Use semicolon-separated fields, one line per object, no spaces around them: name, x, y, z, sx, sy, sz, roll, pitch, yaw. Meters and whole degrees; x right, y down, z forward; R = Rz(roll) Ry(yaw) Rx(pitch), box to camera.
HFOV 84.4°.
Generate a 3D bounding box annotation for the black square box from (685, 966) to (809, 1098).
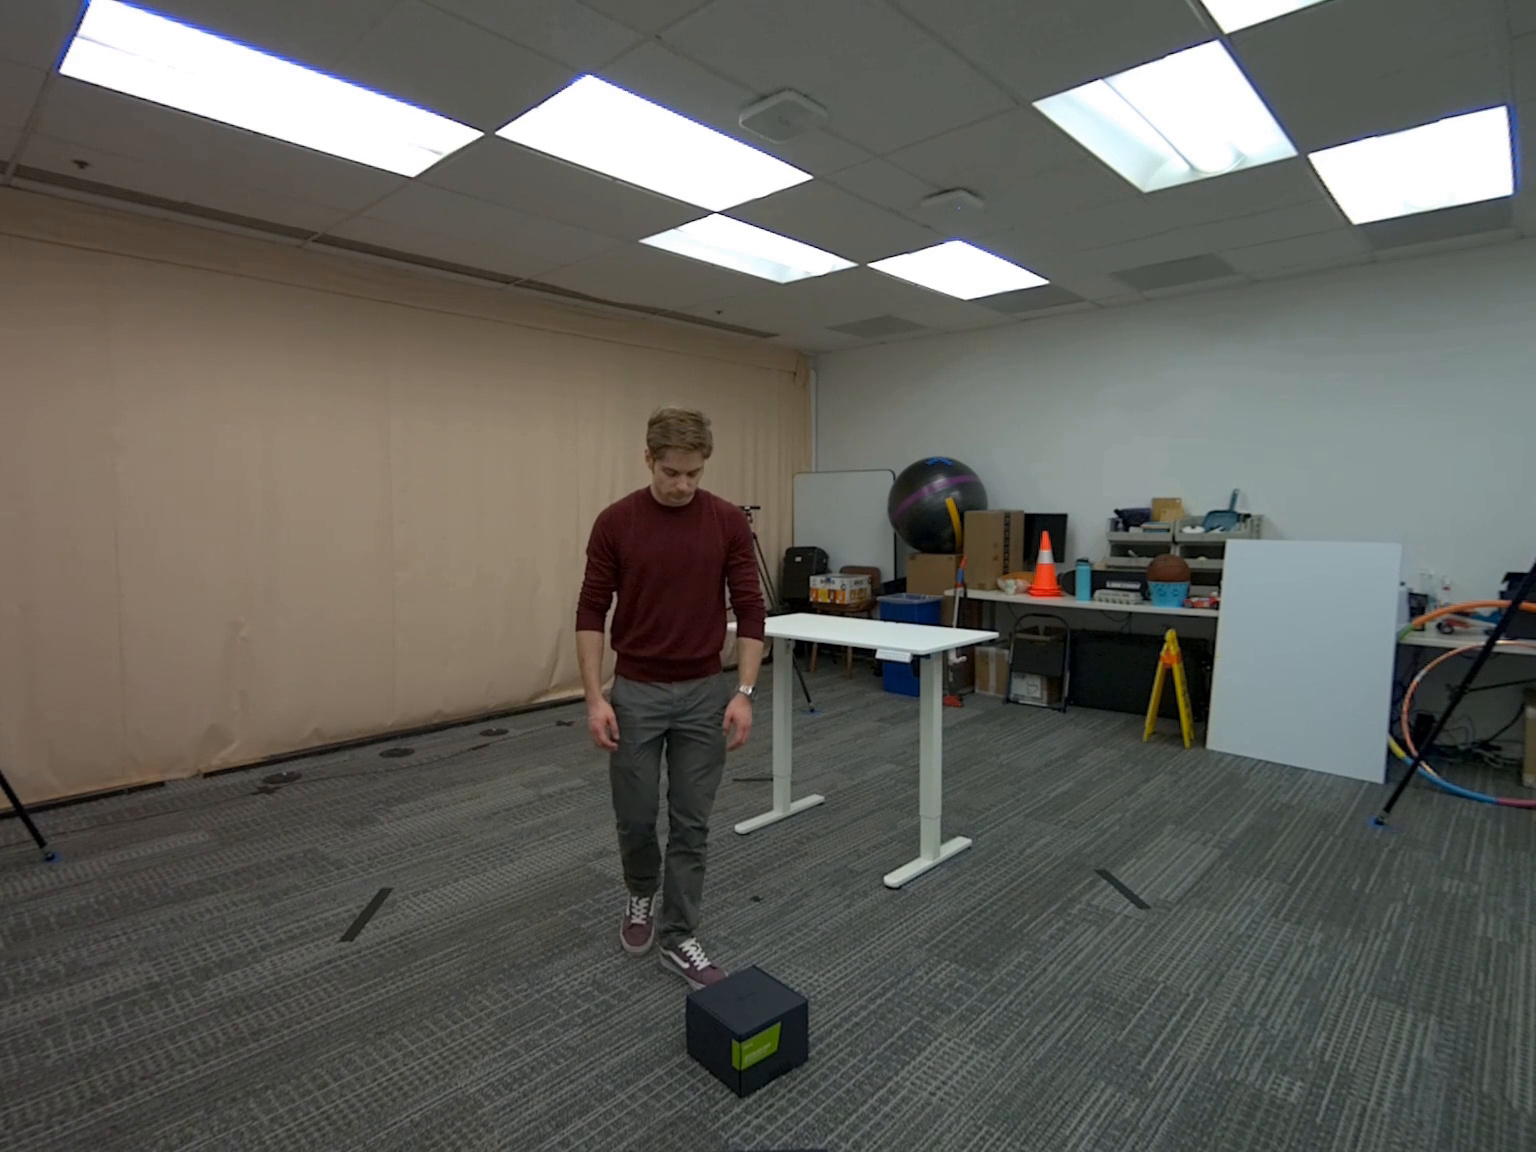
black square box;-0.048;1.135;2.120;0.221;0.155;0.224;-3;6;-41
